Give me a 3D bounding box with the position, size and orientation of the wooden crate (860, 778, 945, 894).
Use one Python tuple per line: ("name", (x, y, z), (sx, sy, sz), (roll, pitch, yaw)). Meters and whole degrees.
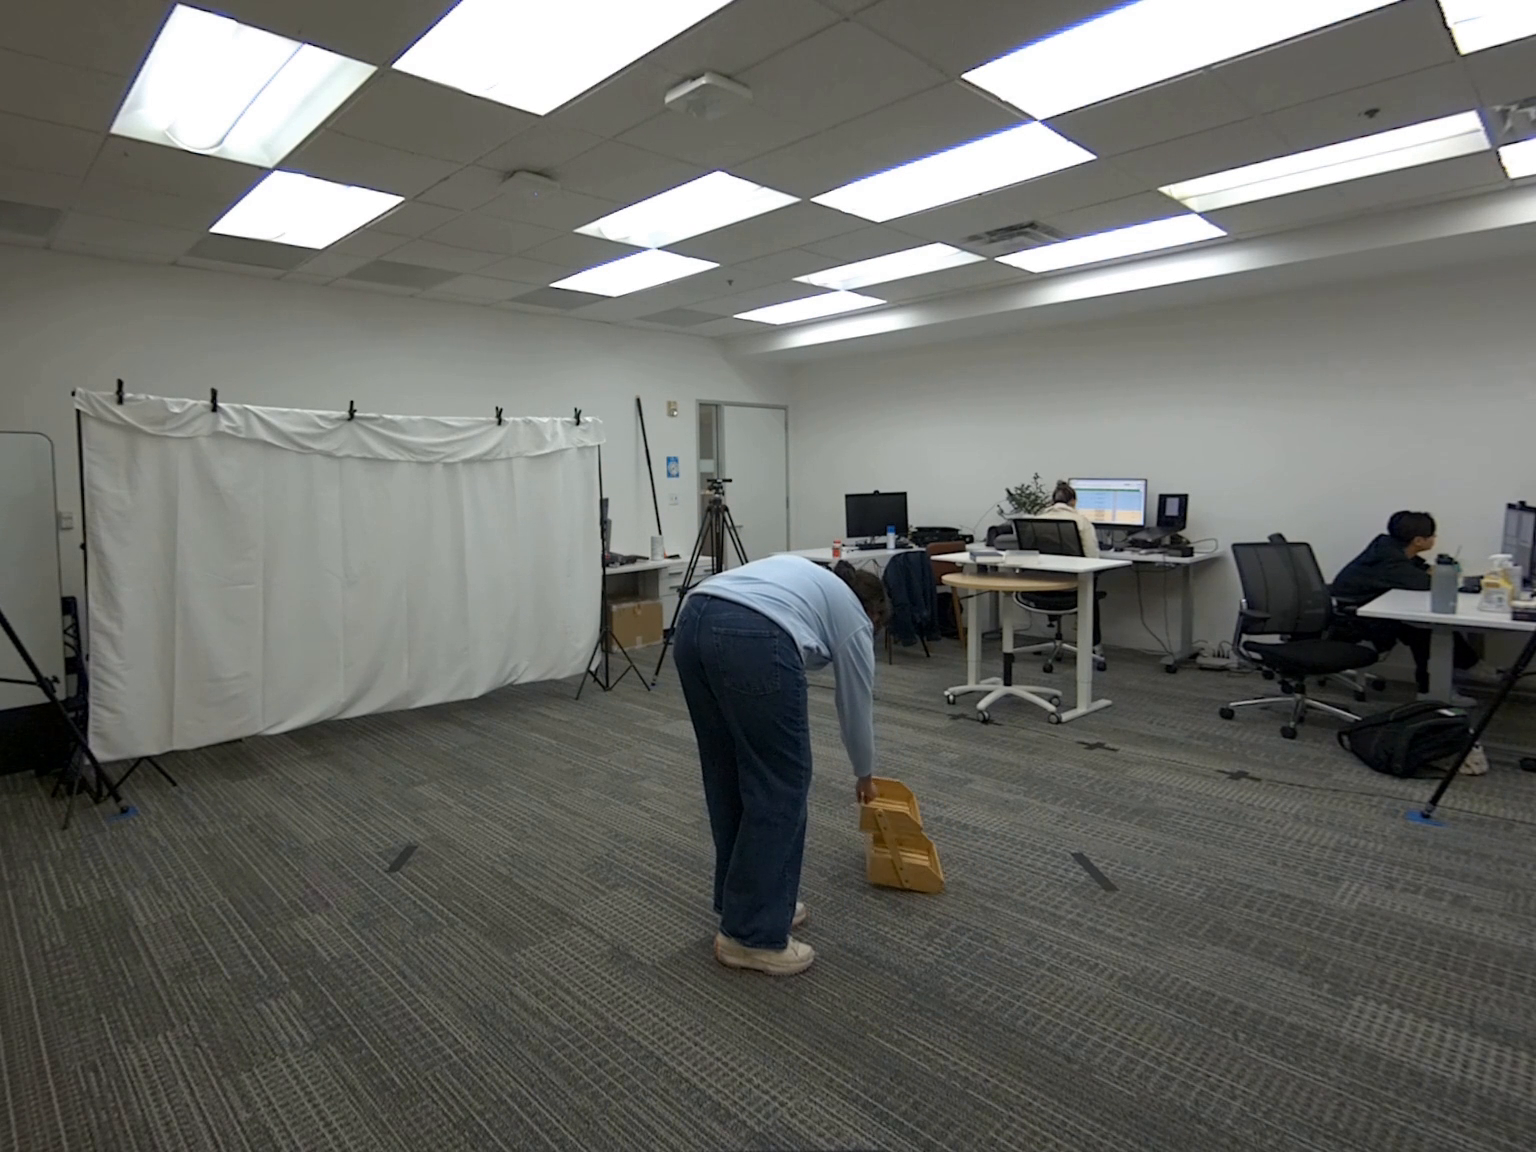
("wooden crate", (0.473, 0.900, 3.006), (0.304, 0.272, 0.323), (6, 6, 6))
